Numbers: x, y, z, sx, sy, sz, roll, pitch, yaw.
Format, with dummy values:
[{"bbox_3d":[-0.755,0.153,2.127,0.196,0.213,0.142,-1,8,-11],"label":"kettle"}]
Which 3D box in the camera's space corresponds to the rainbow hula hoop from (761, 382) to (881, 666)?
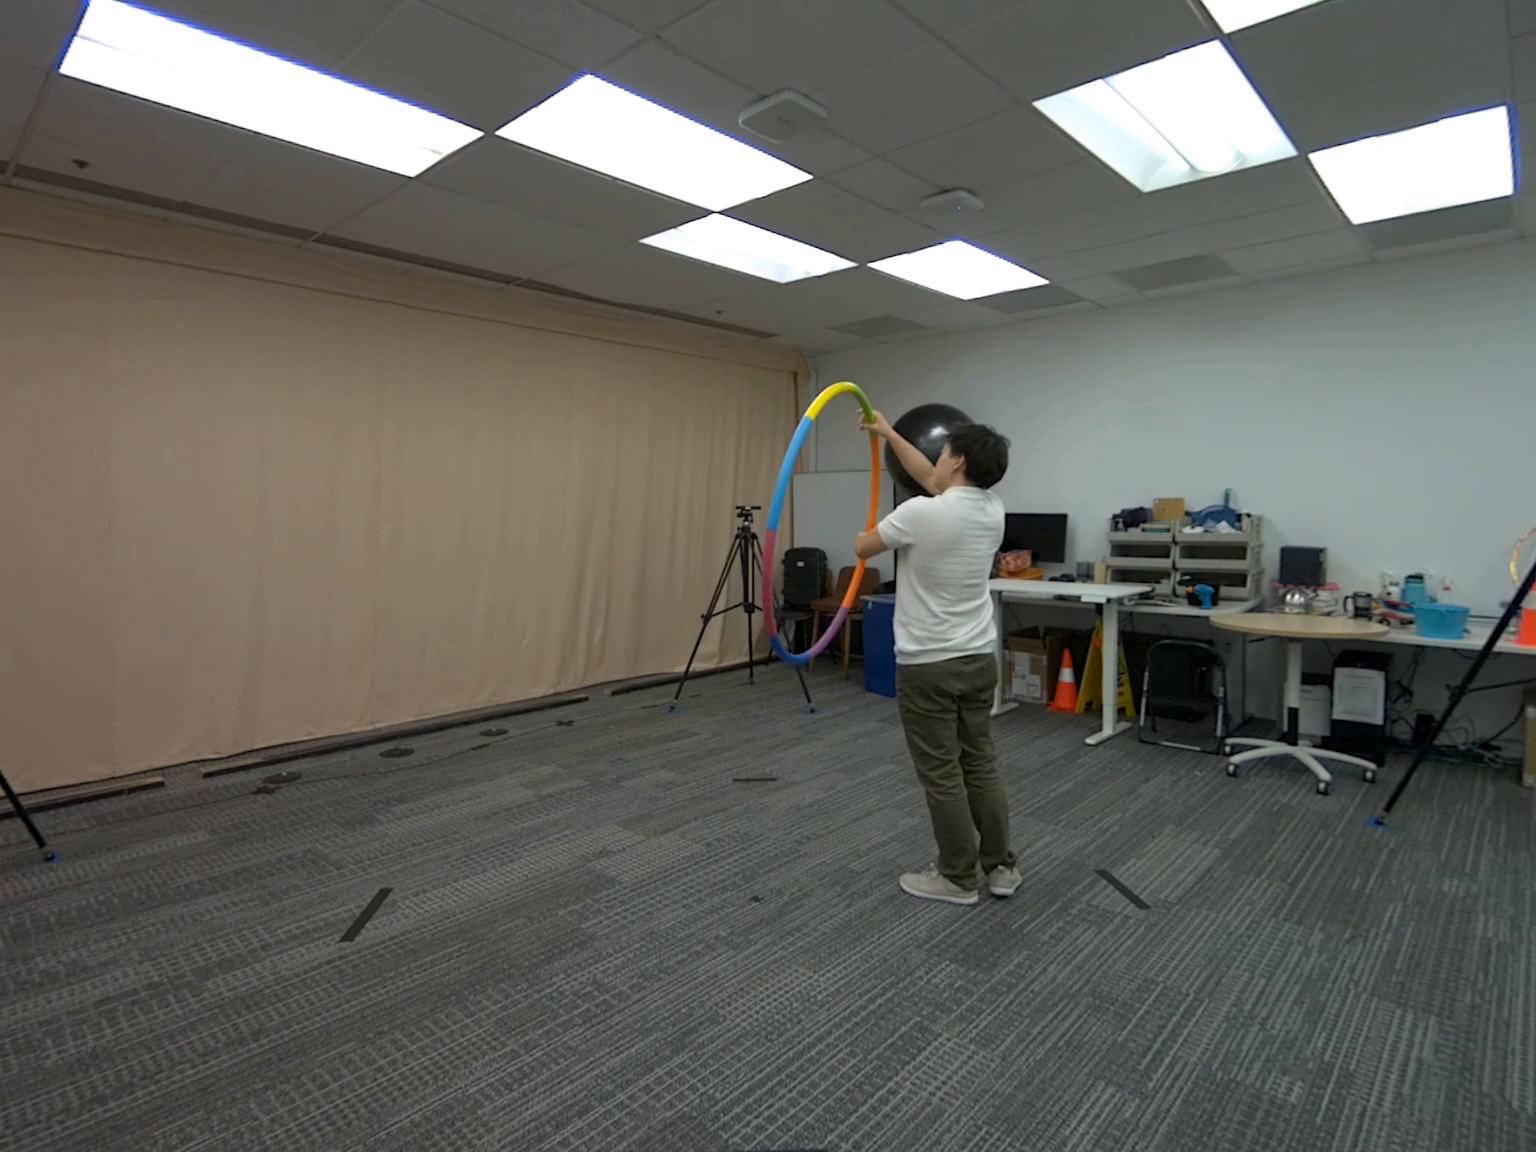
[{"bbox_3d":[0.217,-0.160,2.927,0.036,0.975,0.955,12,9,24],"label":"rainbow hula hoop"}]
